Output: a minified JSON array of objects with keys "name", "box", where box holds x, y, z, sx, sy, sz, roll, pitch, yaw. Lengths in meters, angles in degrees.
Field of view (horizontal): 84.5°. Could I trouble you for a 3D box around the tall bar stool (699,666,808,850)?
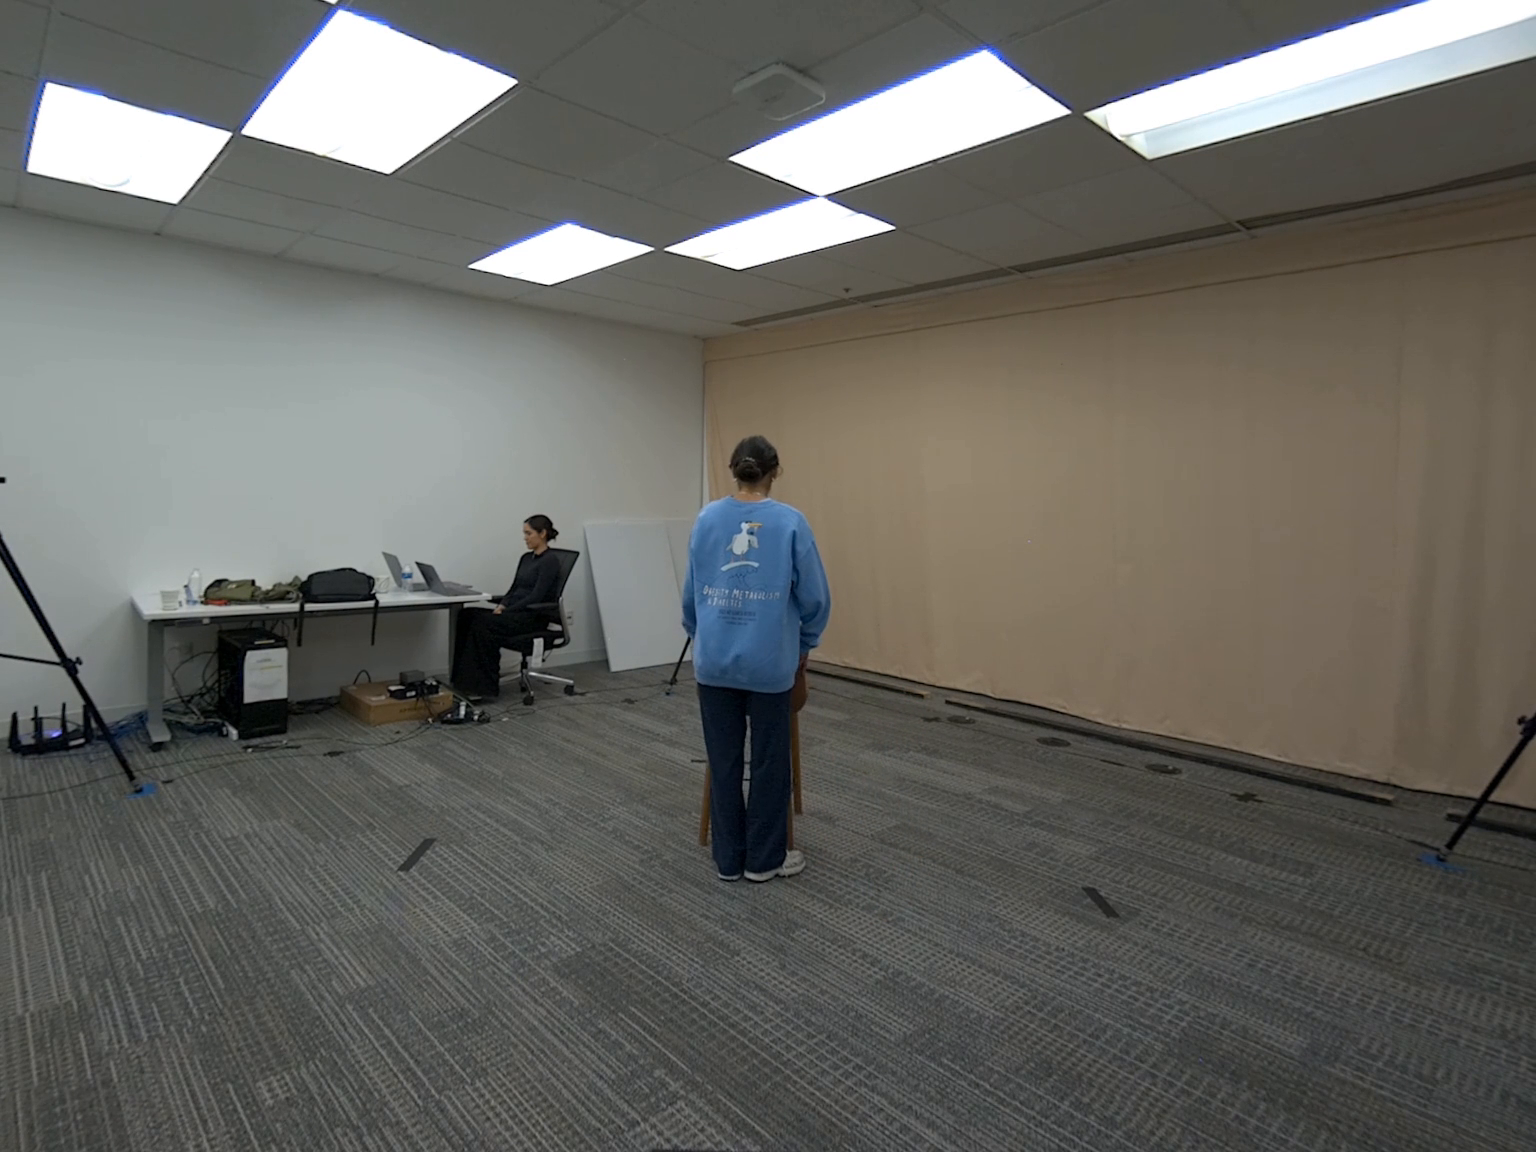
[{"name":"tall bar stool","box":[-0.063,0.632,3.526,0.459,0.886,0.467,2,5,6]}]
